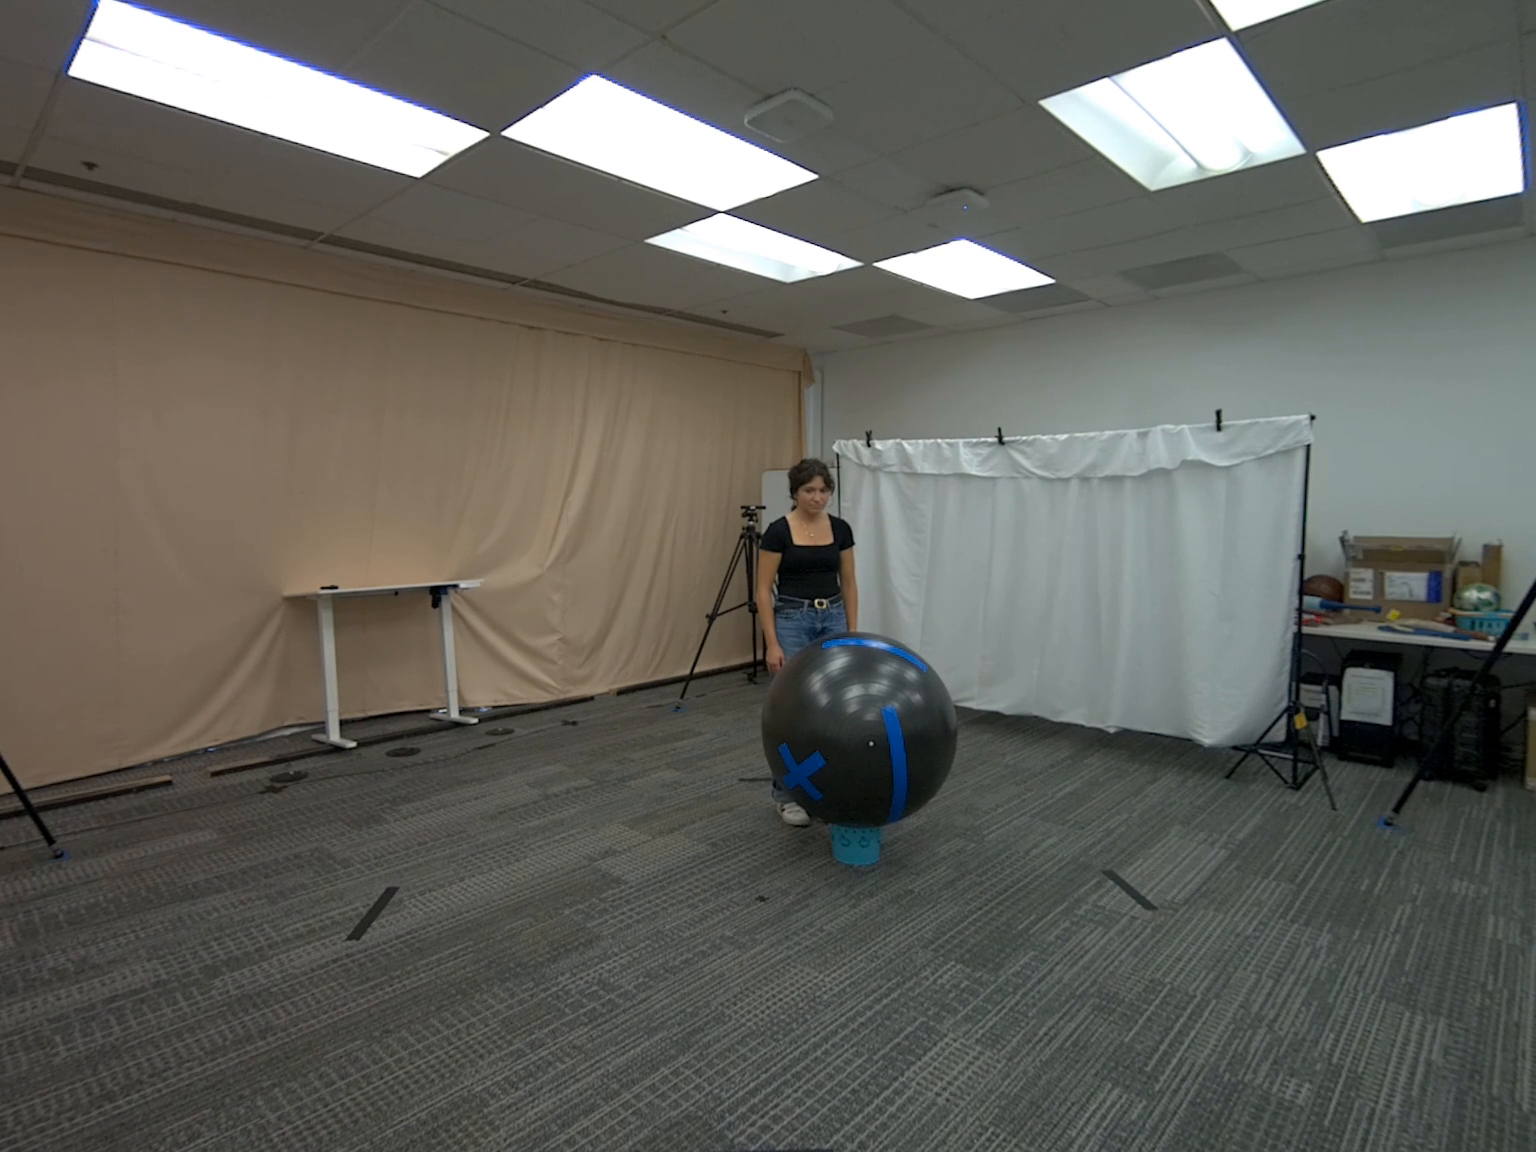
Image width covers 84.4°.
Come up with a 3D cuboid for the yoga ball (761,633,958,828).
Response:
[{"bbox_3d":[0.361,0.606,3.327,0.757,0.756,0.760,0,4,-2],"label":"yoga ball"}]
